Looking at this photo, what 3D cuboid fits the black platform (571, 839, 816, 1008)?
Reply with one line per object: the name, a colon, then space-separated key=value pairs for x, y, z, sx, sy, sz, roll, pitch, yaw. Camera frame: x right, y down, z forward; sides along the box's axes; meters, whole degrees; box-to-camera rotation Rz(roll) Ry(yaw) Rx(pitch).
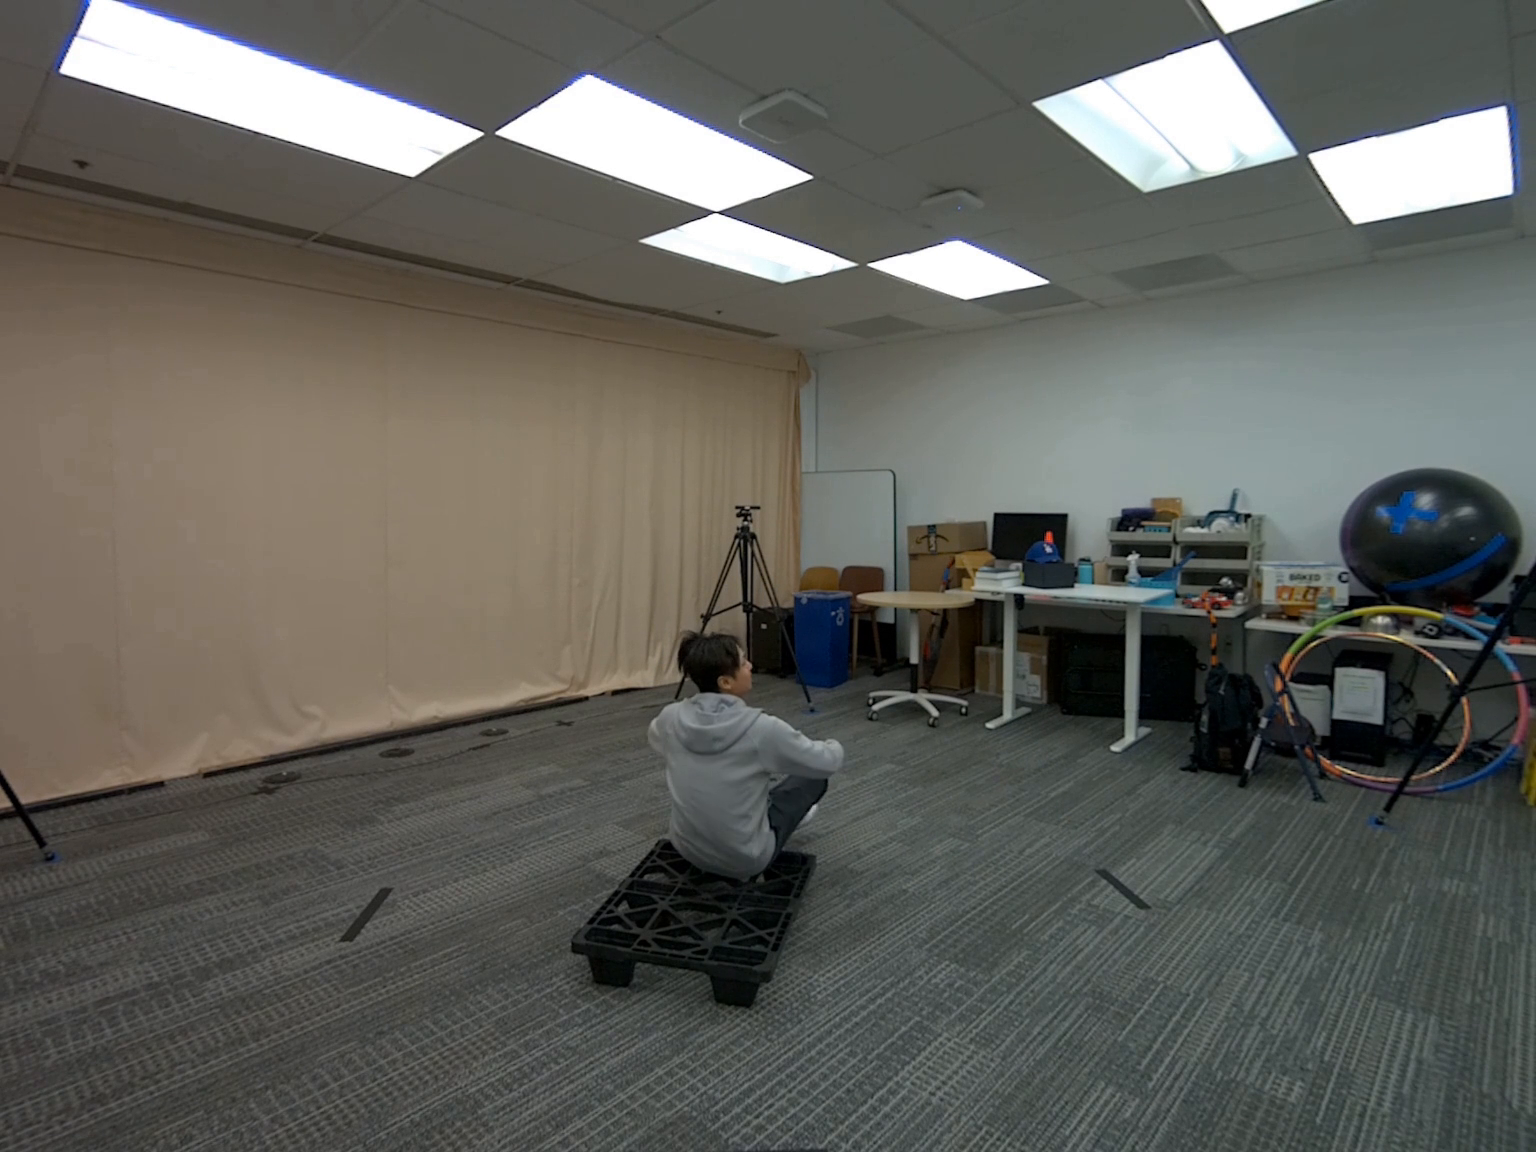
black platform: x=-0.198 y=1.093 z=2.746 sx=0.615 sy=0.143 sz=0.795 roll=2 pitch=5 yaw=14
